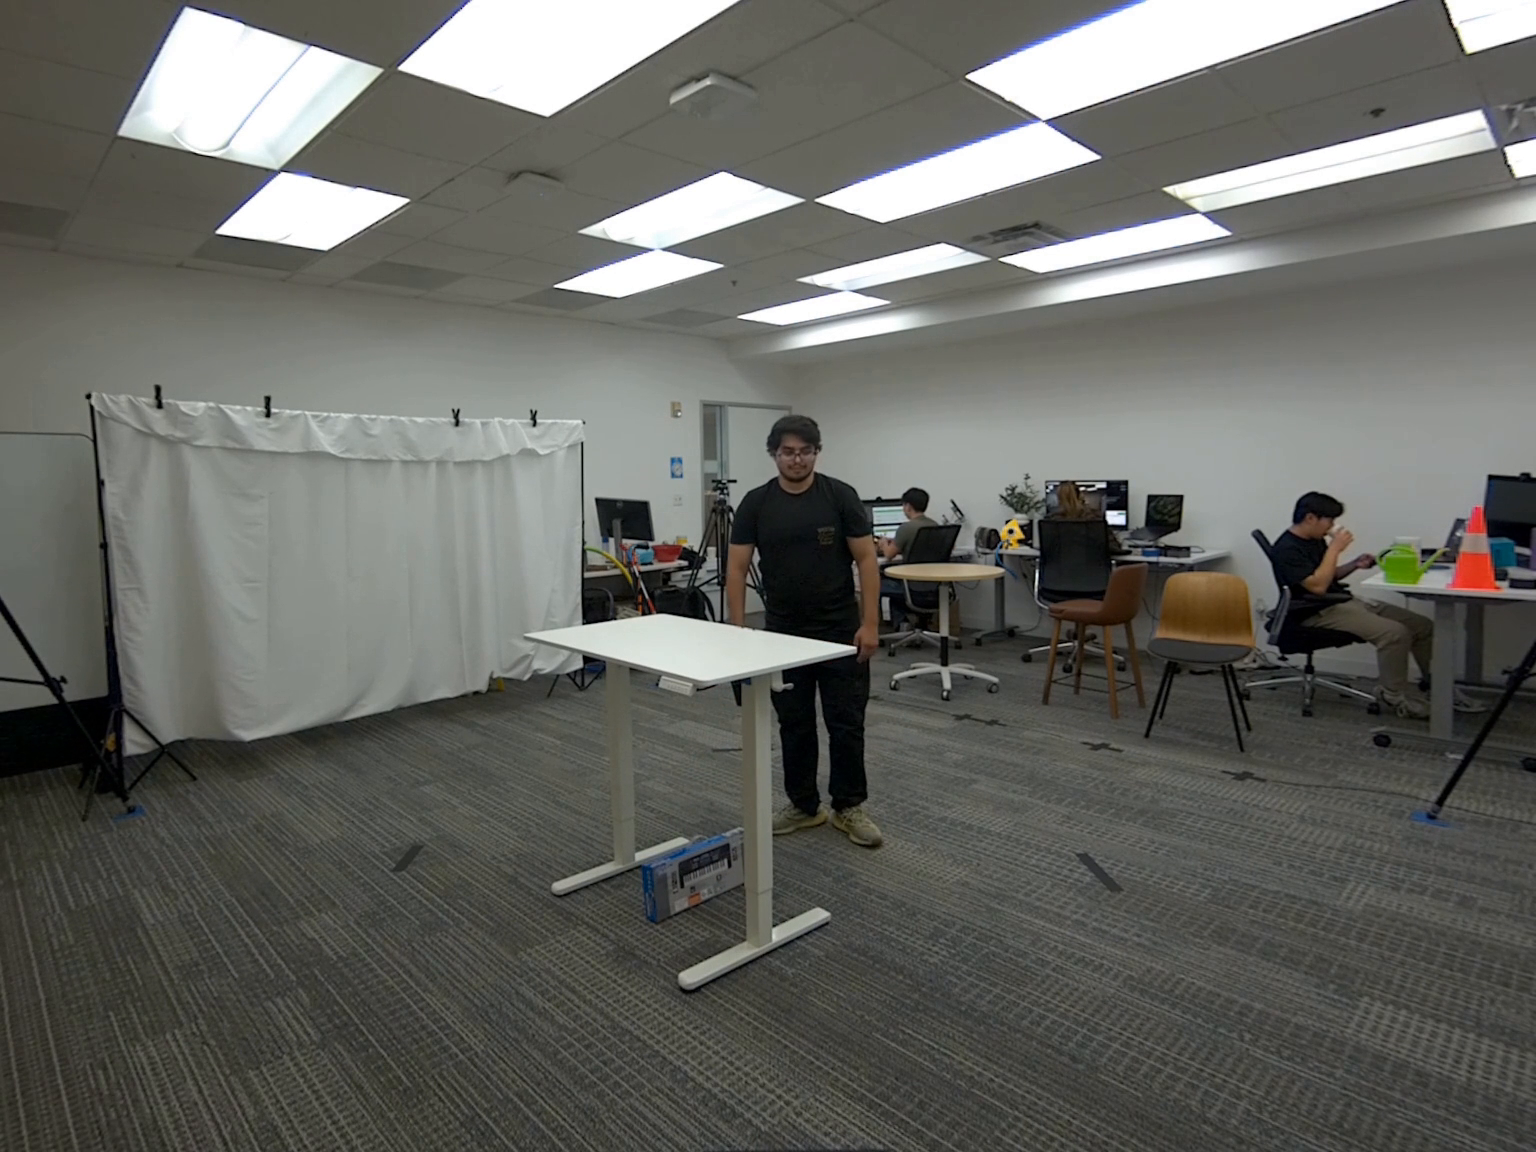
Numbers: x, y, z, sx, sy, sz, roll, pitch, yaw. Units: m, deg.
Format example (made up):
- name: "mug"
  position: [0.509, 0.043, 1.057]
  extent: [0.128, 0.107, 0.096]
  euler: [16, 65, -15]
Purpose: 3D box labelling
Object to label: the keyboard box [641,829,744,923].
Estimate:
- name: "keyboard box"
  position: [-0.222, 0.992, 2.862]
  extent: [0.425, 0.176, 0.061]
  euler: [-7, 1, -43]
